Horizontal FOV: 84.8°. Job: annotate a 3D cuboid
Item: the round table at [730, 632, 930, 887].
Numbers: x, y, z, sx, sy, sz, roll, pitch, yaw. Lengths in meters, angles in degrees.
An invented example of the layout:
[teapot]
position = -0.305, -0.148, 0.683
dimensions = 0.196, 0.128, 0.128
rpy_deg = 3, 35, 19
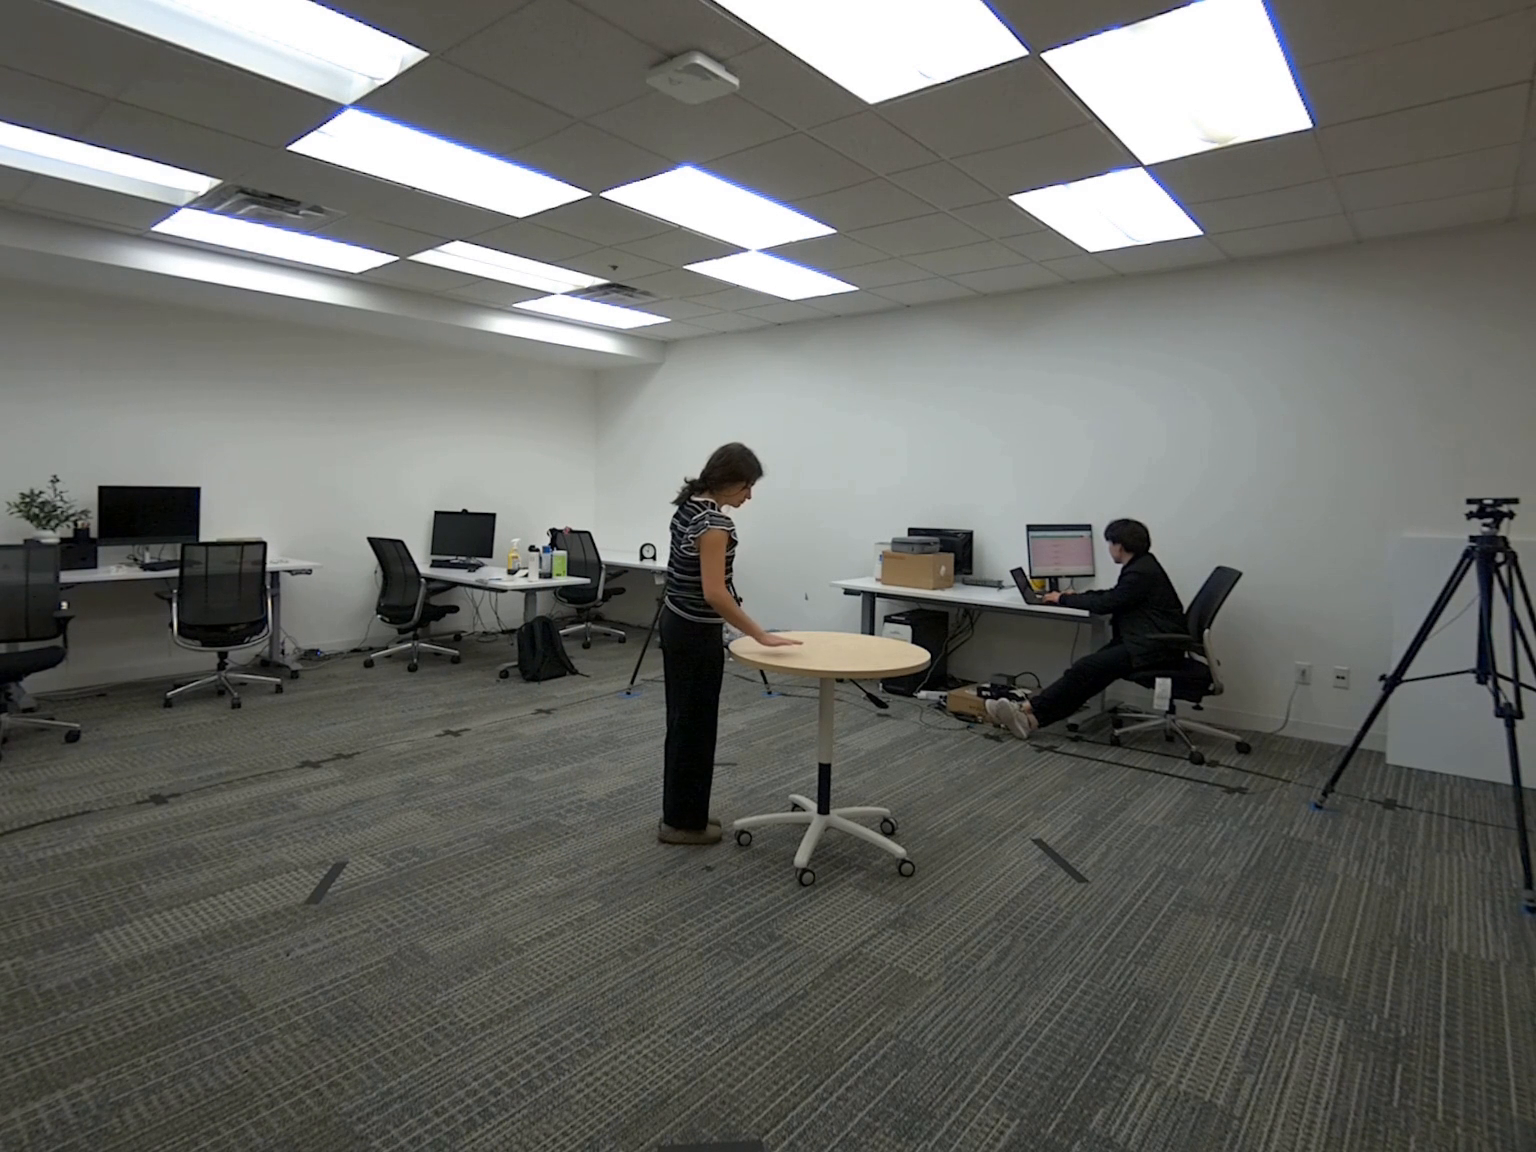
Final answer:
[round table]
position = 0.220, 0.672, 3.289
dimensions = 0.763, 0.791, 0.768
rpy_deg = 1, 5, -2
